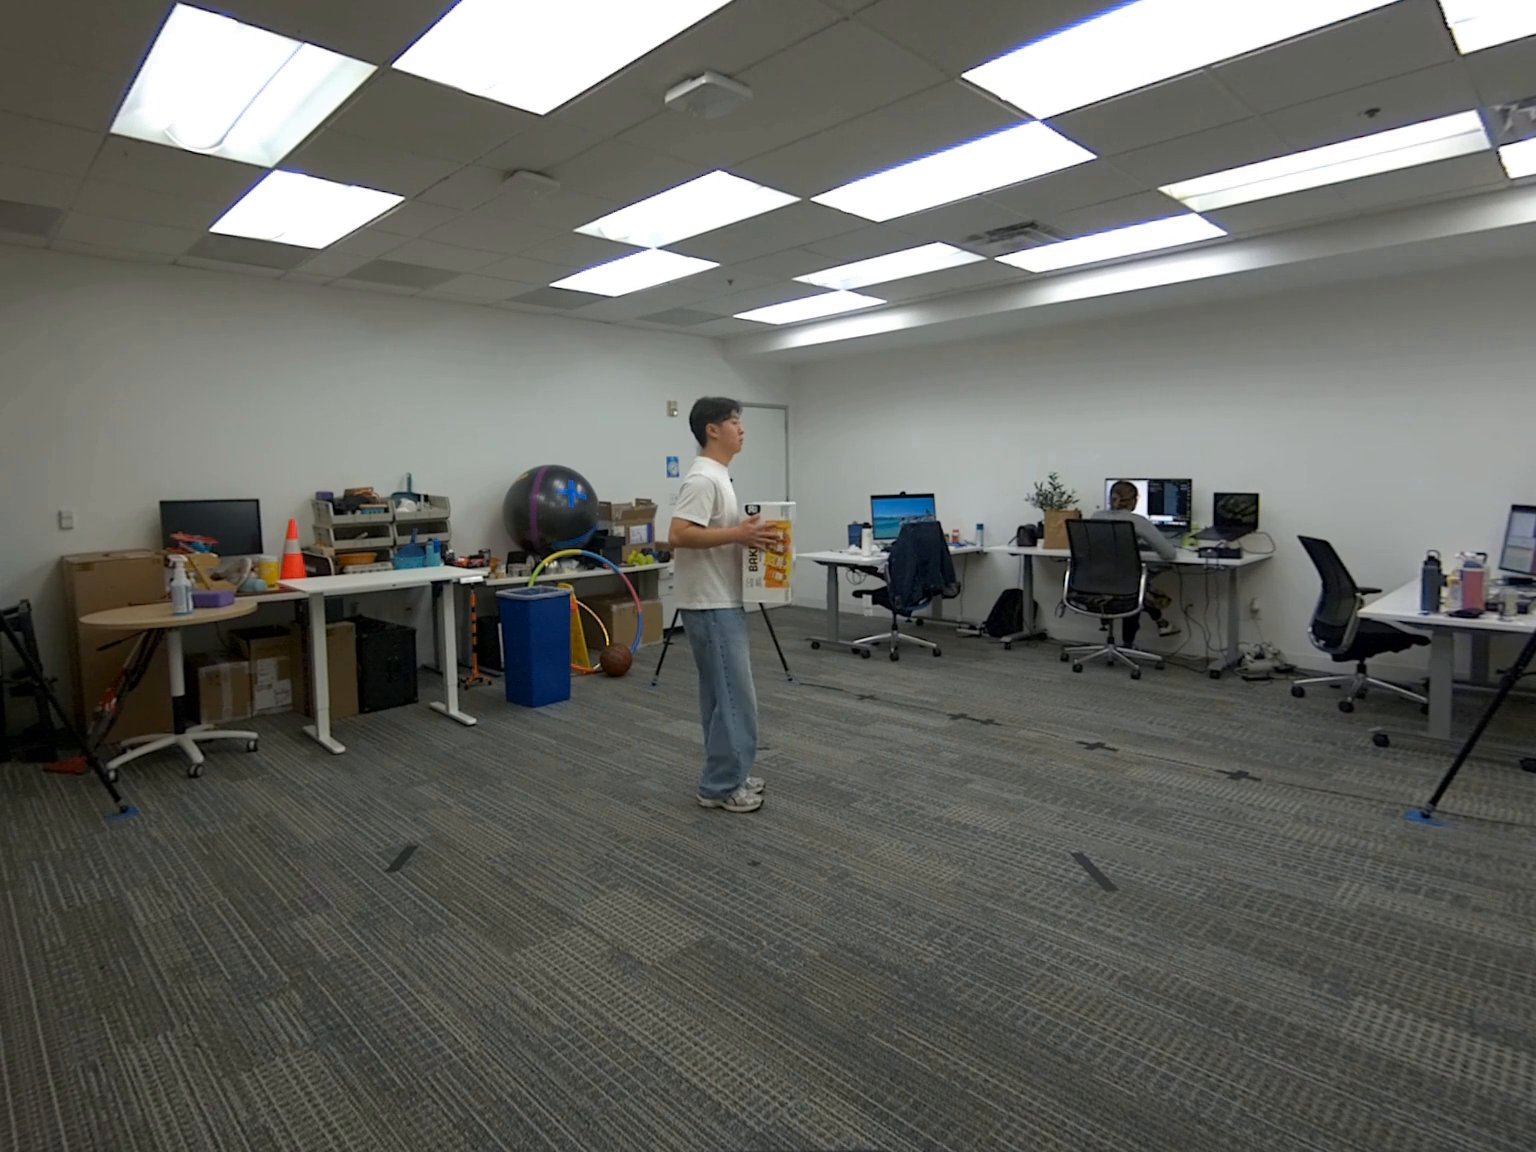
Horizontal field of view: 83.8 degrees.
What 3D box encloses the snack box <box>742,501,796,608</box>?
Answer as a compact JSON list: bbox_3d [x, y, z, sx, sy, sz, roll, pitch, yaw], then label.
[{"bbox_3d":[0.008,-0.115,3.668,0.207,0.404,0.339,0,4,5],"label":"snack box"}]
